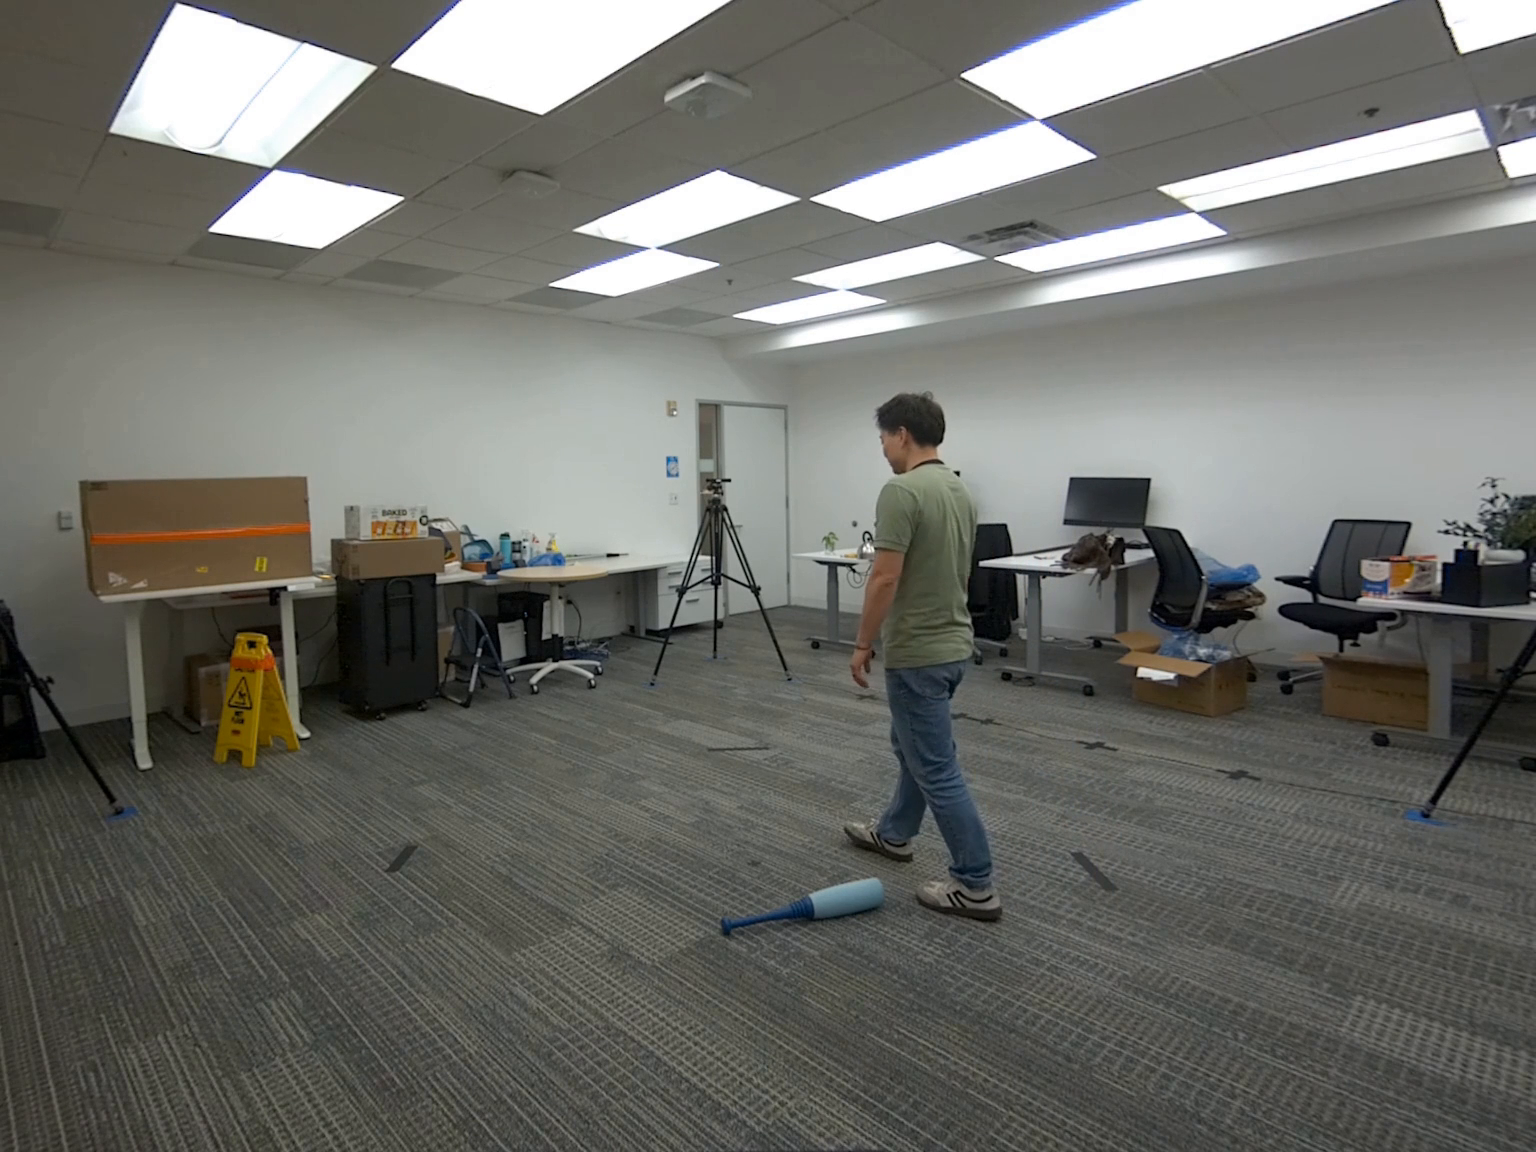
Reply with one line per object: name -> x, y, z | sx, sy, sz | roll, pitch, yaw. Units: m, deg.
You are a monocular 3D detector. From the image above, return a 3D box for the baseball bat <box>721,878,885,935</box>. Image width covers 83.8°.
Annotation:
baseball bat -> 0.119, 1.056, 2.695 | 0.535, 0.088, 0.091 | -6, 6, -16
